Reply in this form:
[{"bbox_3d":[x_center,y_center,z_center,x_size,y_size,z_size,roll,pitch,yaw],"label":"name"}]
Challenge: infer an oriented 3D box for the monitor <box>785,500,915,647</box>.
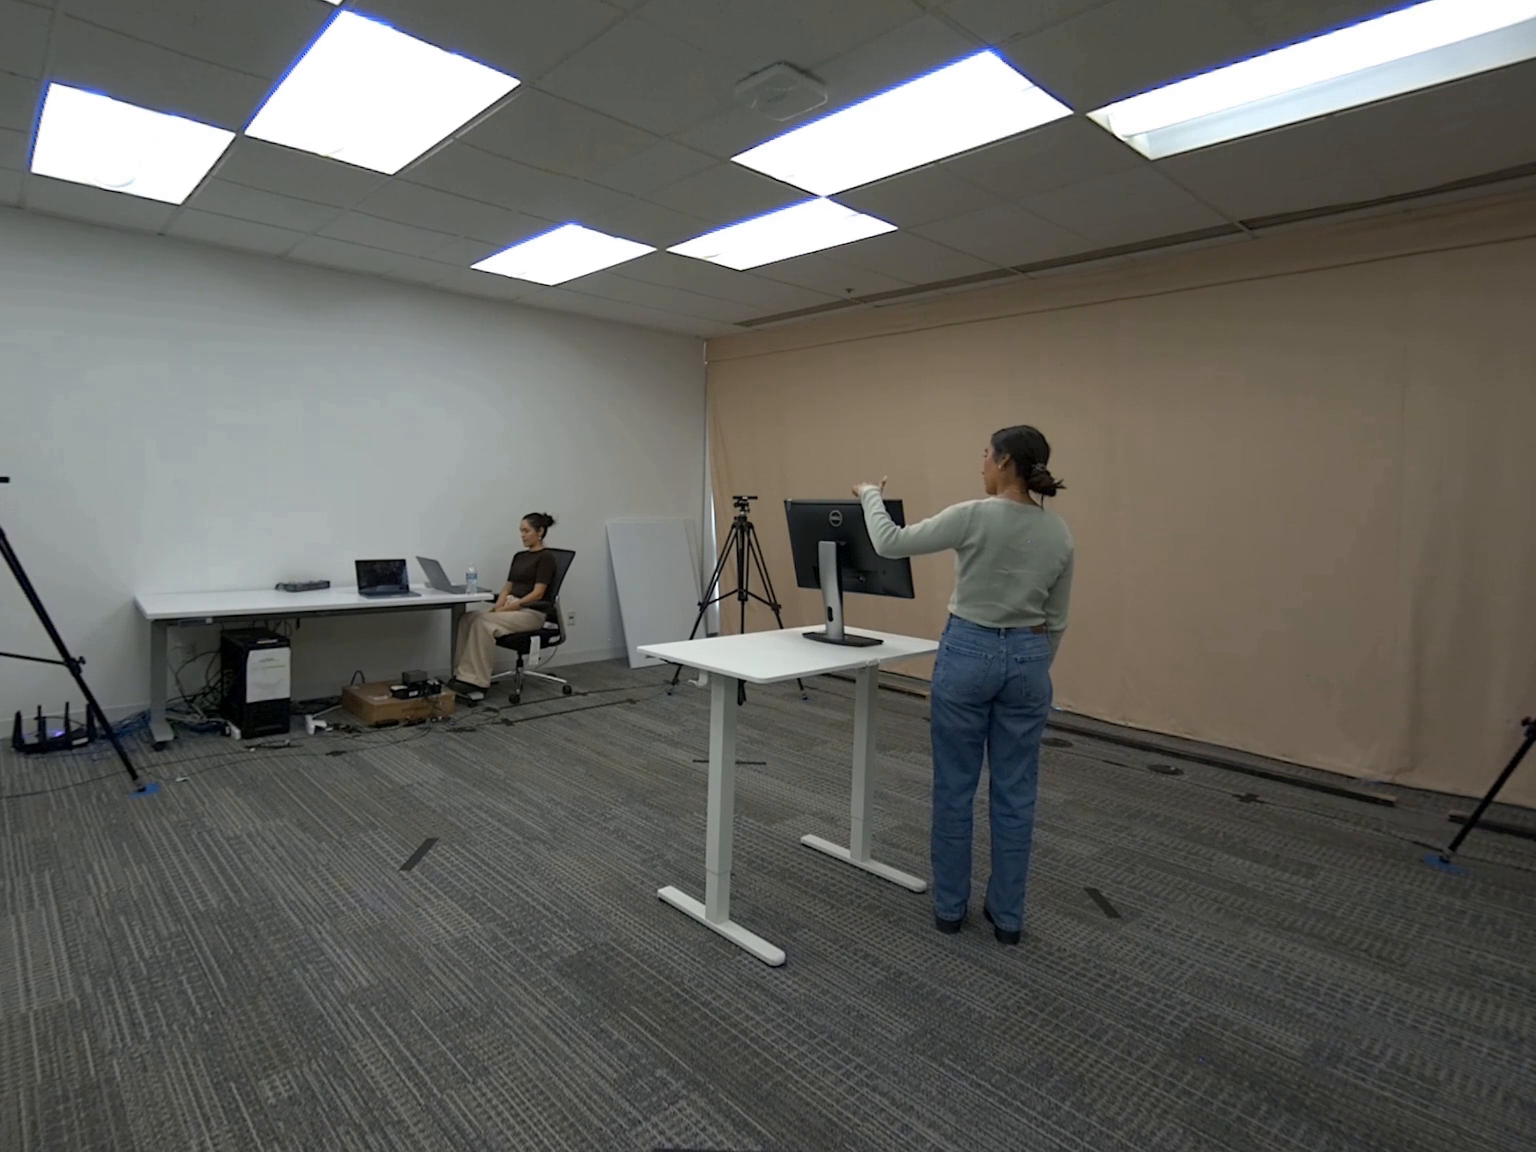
[{"bbox_3d":[0.256,-0.014,3.043,0.553,0.521,0.183,5,6,44],"label":"monitor"}]
